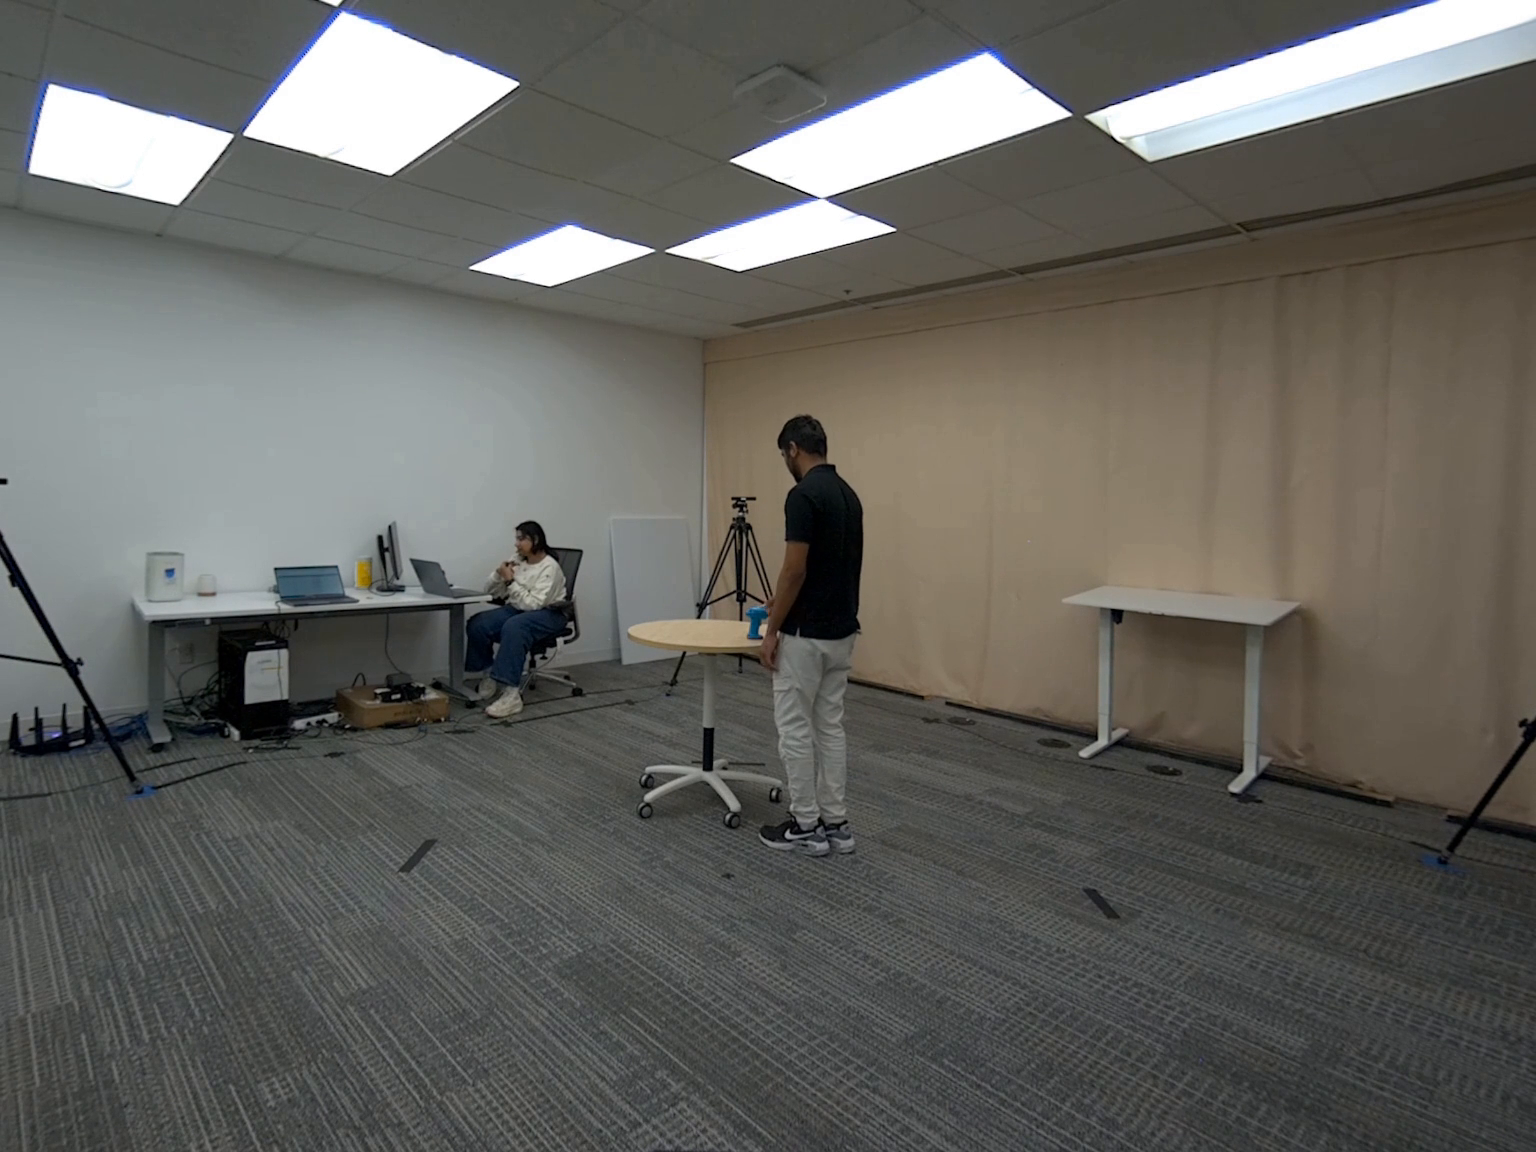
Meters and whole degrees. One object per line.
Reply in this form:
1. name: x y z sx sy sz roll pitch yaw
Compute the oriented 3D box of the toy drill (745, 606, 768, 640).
1. toy drill: -0.023 0.205 3.710 0.167 0.146 0.062 1 0 -19
